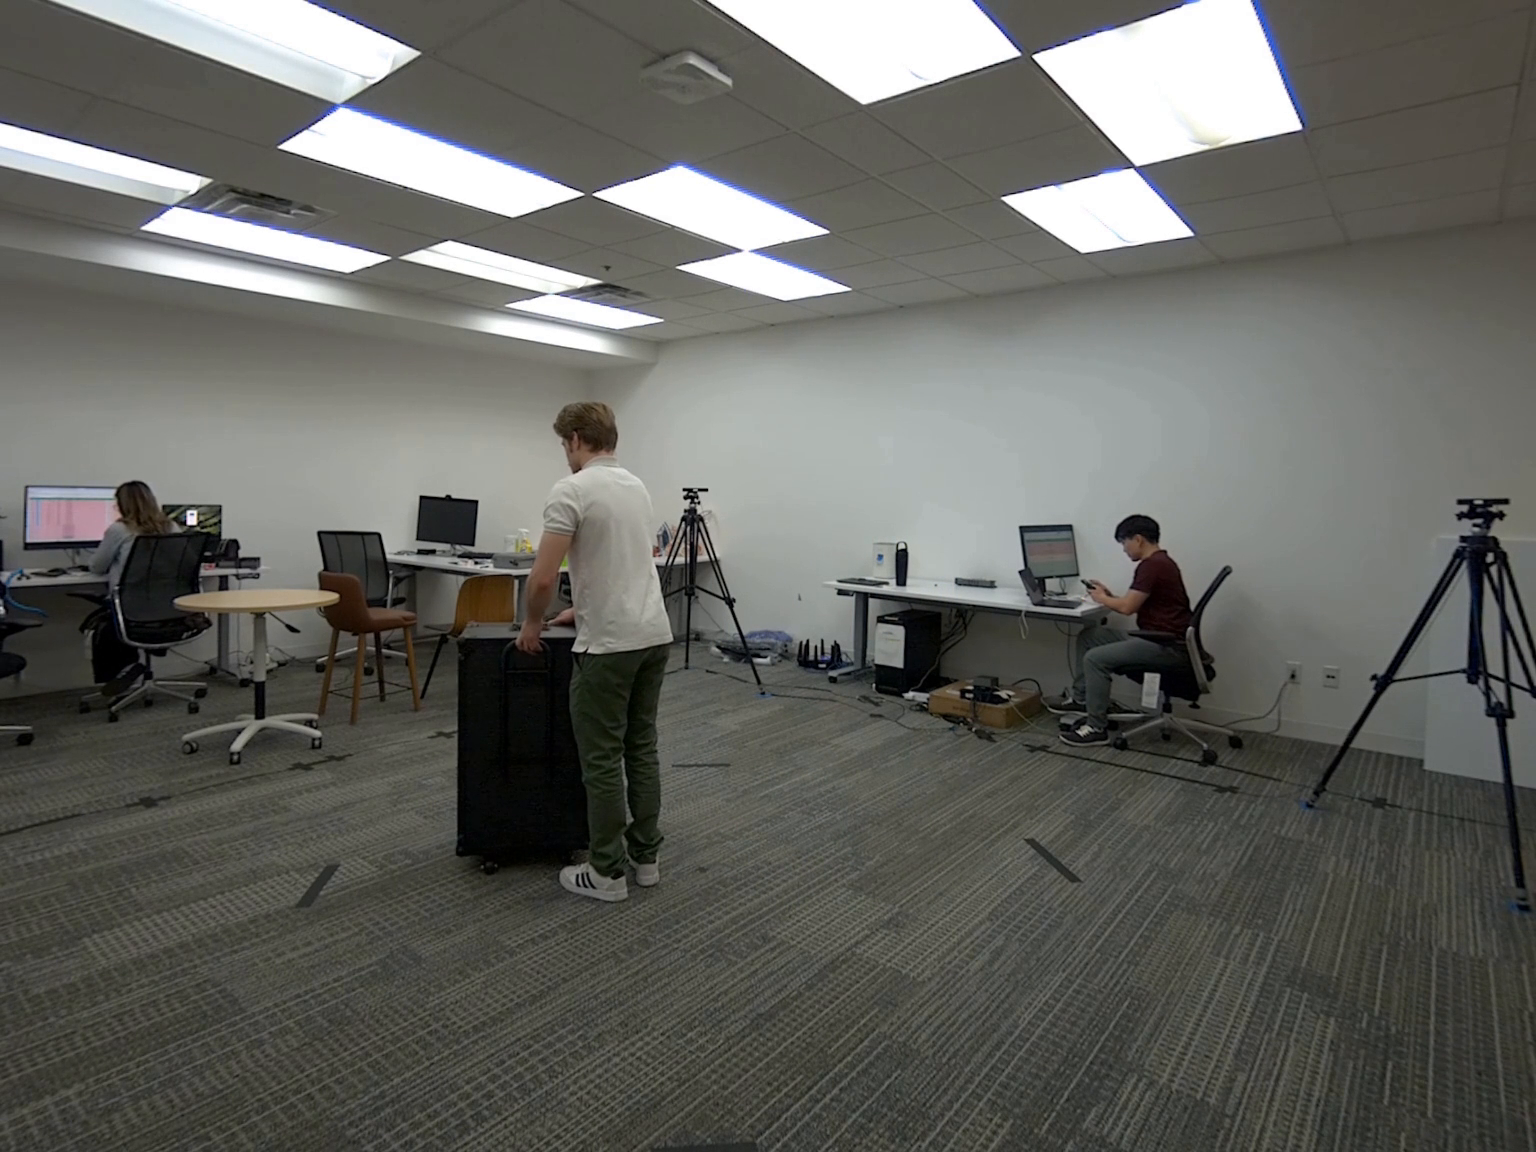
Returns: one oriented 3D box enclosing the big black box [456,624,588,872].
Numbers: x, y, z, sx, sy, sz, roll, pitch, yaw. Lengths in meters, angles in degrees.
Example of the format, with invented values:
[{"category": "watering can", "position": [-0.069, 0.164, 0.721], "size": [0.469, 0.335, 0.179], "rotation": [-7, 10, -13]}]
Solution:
[{"category": "big black box", "position": [-0.912, 0.623, 3.212], "size": [0.517, 0.866, 0.391], "rotation": [1, 3, -12]}]
